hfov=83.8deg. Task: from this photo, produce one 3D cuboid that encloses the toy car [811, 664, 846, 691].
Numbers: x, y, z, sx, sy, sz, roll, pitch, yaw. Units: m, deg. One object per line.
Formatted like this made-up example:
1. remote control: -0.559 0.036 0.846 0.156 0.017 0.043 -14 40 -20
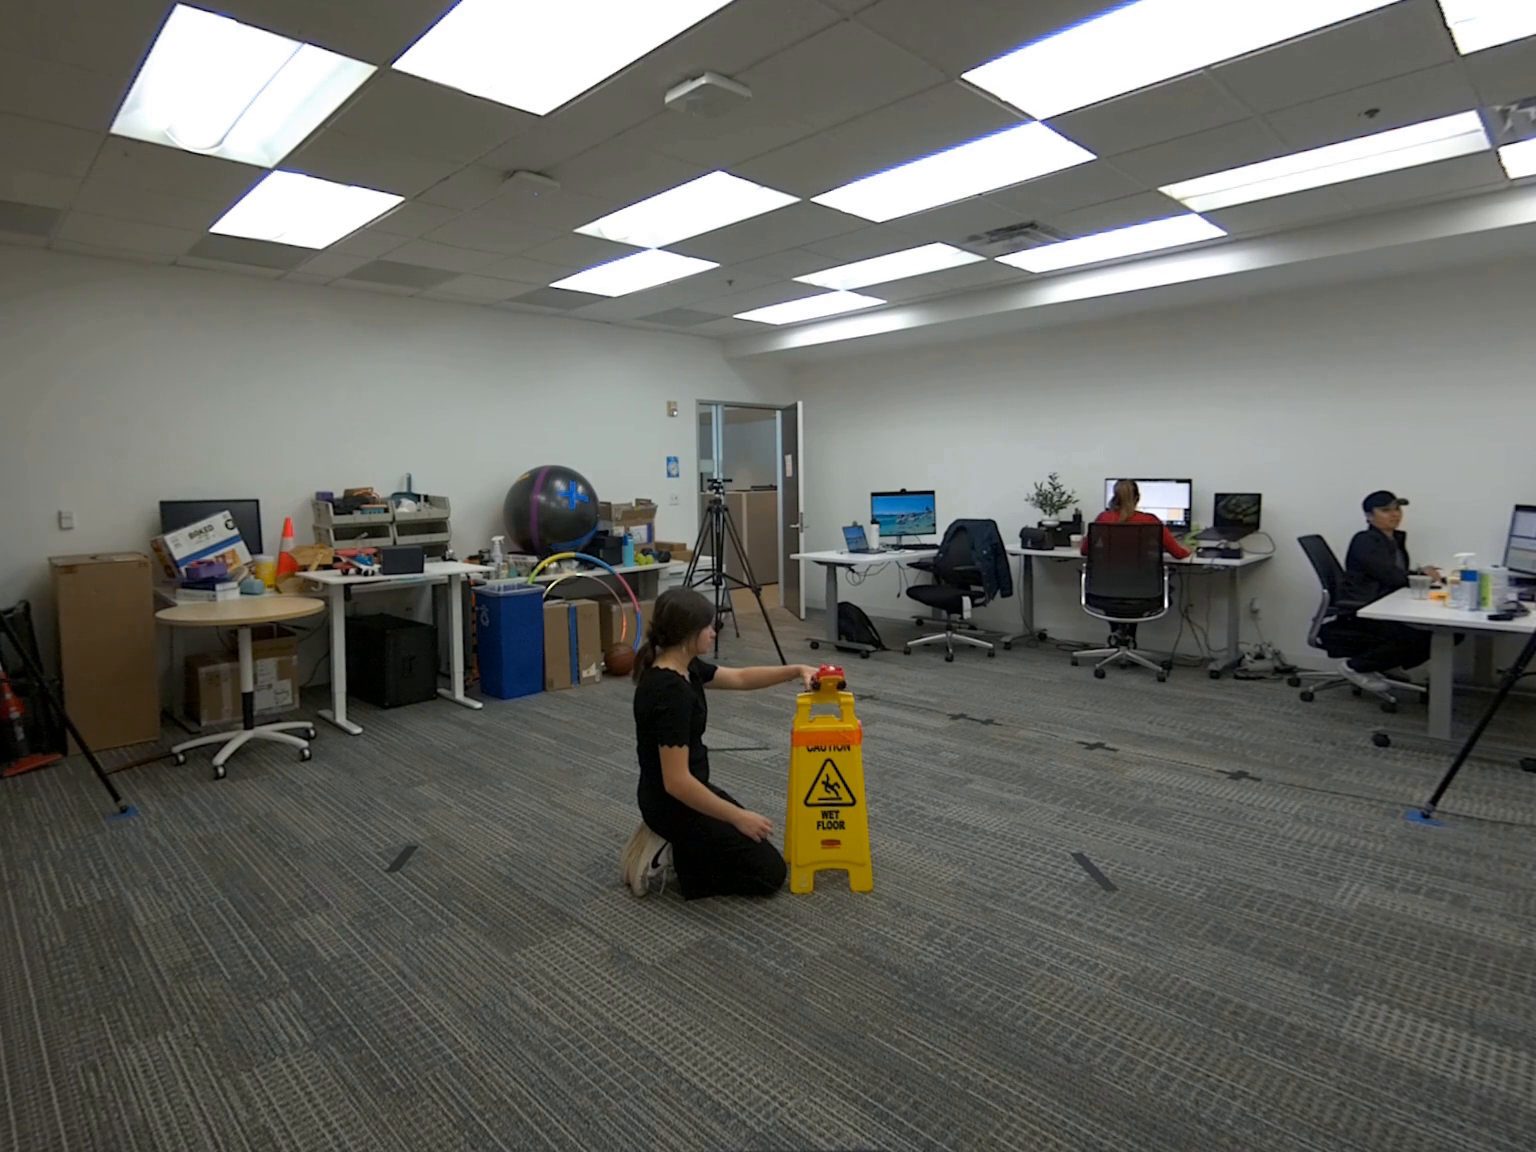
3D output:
1. toy car: 0.198 0.385 2.973 0.130 0.086 0.248 -1 -41 -6
